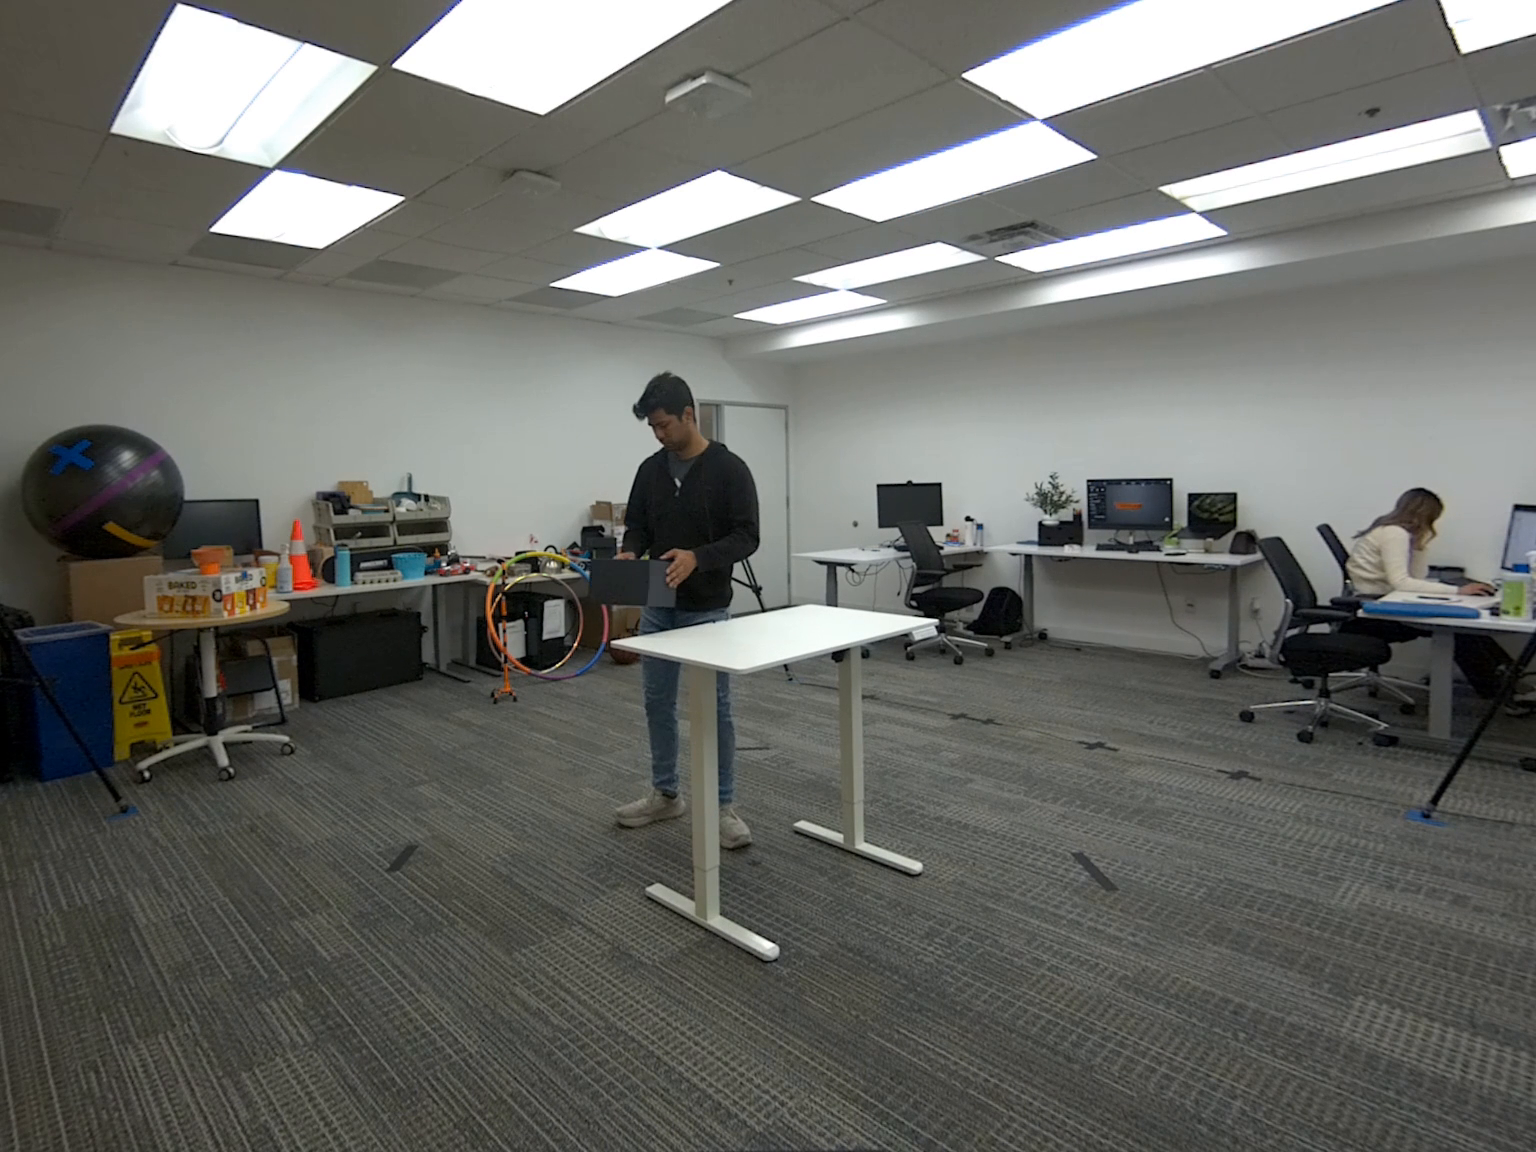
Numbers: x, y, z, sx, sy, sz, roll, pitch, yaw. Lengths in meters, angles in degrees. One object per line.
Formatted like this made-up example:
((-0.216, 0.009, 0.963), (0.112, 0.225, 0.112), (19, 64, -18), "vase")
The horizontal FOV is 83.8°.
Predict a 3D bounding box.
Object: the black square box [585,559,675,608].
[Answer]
((-0.462, 0.033, 2.960), (0.233, 0.156, 0.212), (3, -2, 21), "black square box")
